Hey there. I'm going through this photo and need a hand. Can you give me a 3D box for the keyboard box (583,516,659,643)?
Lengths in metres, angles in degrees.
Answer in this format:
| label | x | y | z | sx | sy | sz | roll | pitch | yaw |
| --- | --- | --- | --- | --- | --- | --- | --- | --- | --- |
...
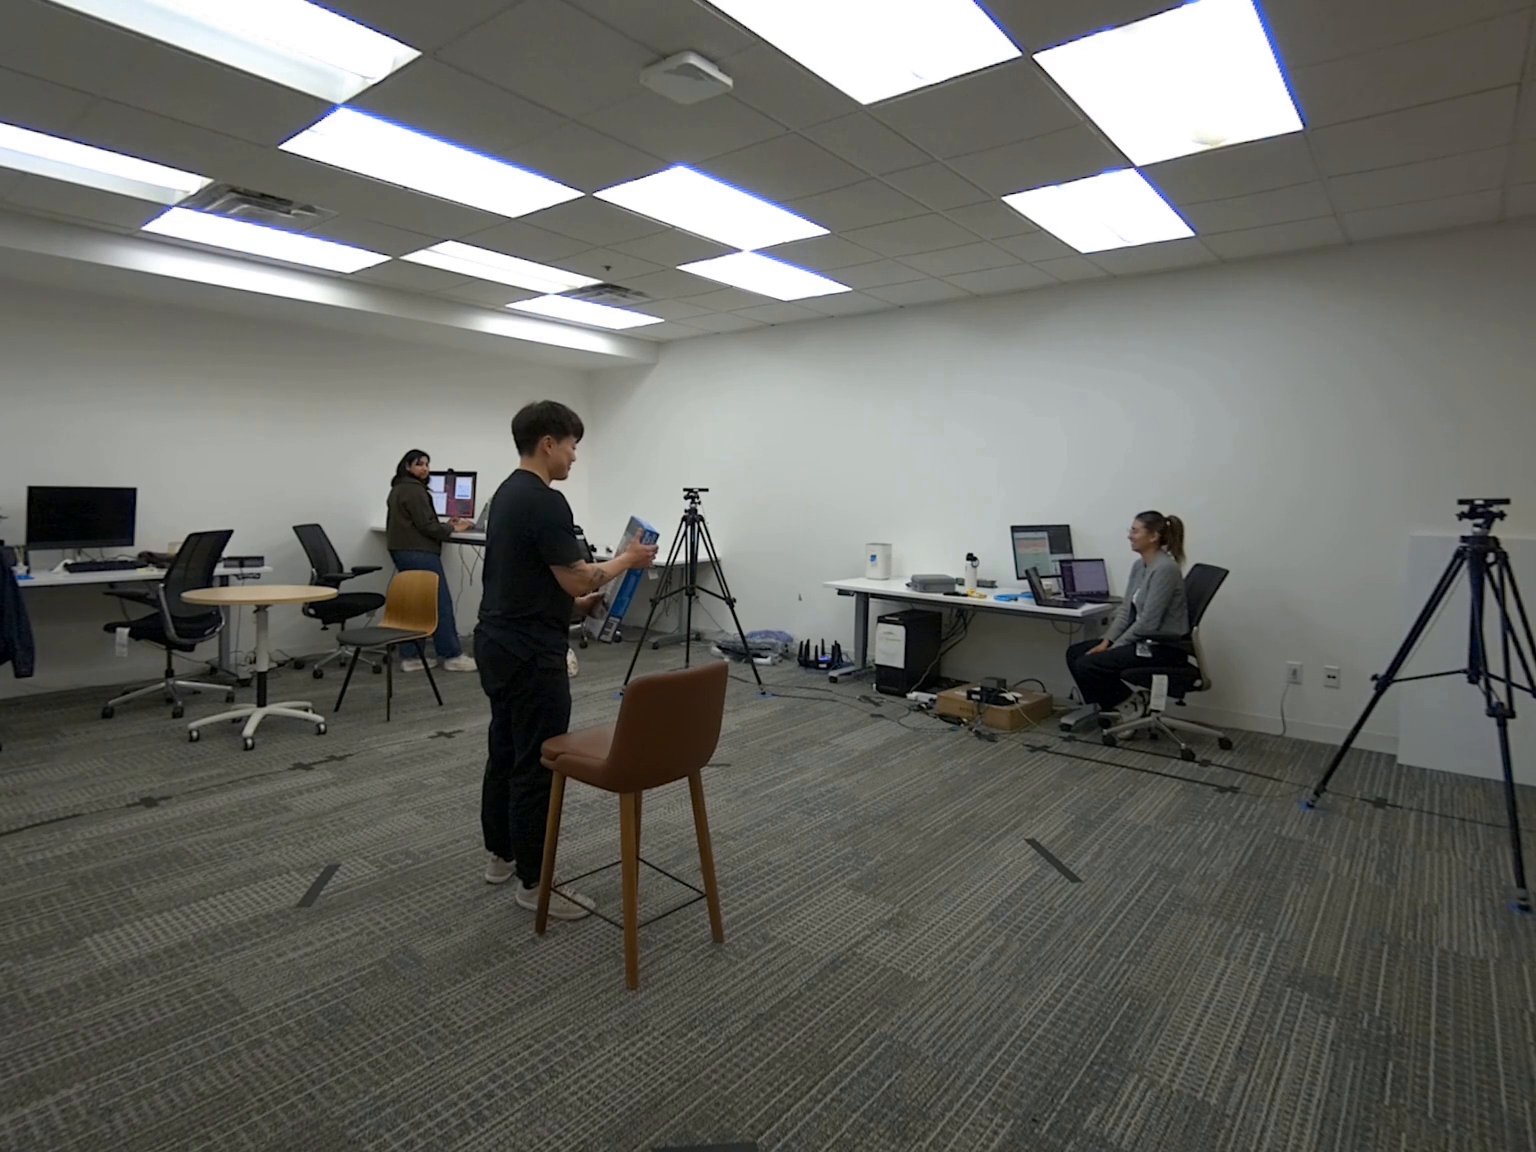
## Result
| label | x | y | z | sx | sy | sz | roll | pitch | yaw |
| --- | --- | --- | --- | --- | --- | --- | --- | --- | --- |
| keyboard box | -0.542 | 0.013 | 3.058 | 0.057 | 0.435 | 0.182 | 20 | 9 | -30 |
